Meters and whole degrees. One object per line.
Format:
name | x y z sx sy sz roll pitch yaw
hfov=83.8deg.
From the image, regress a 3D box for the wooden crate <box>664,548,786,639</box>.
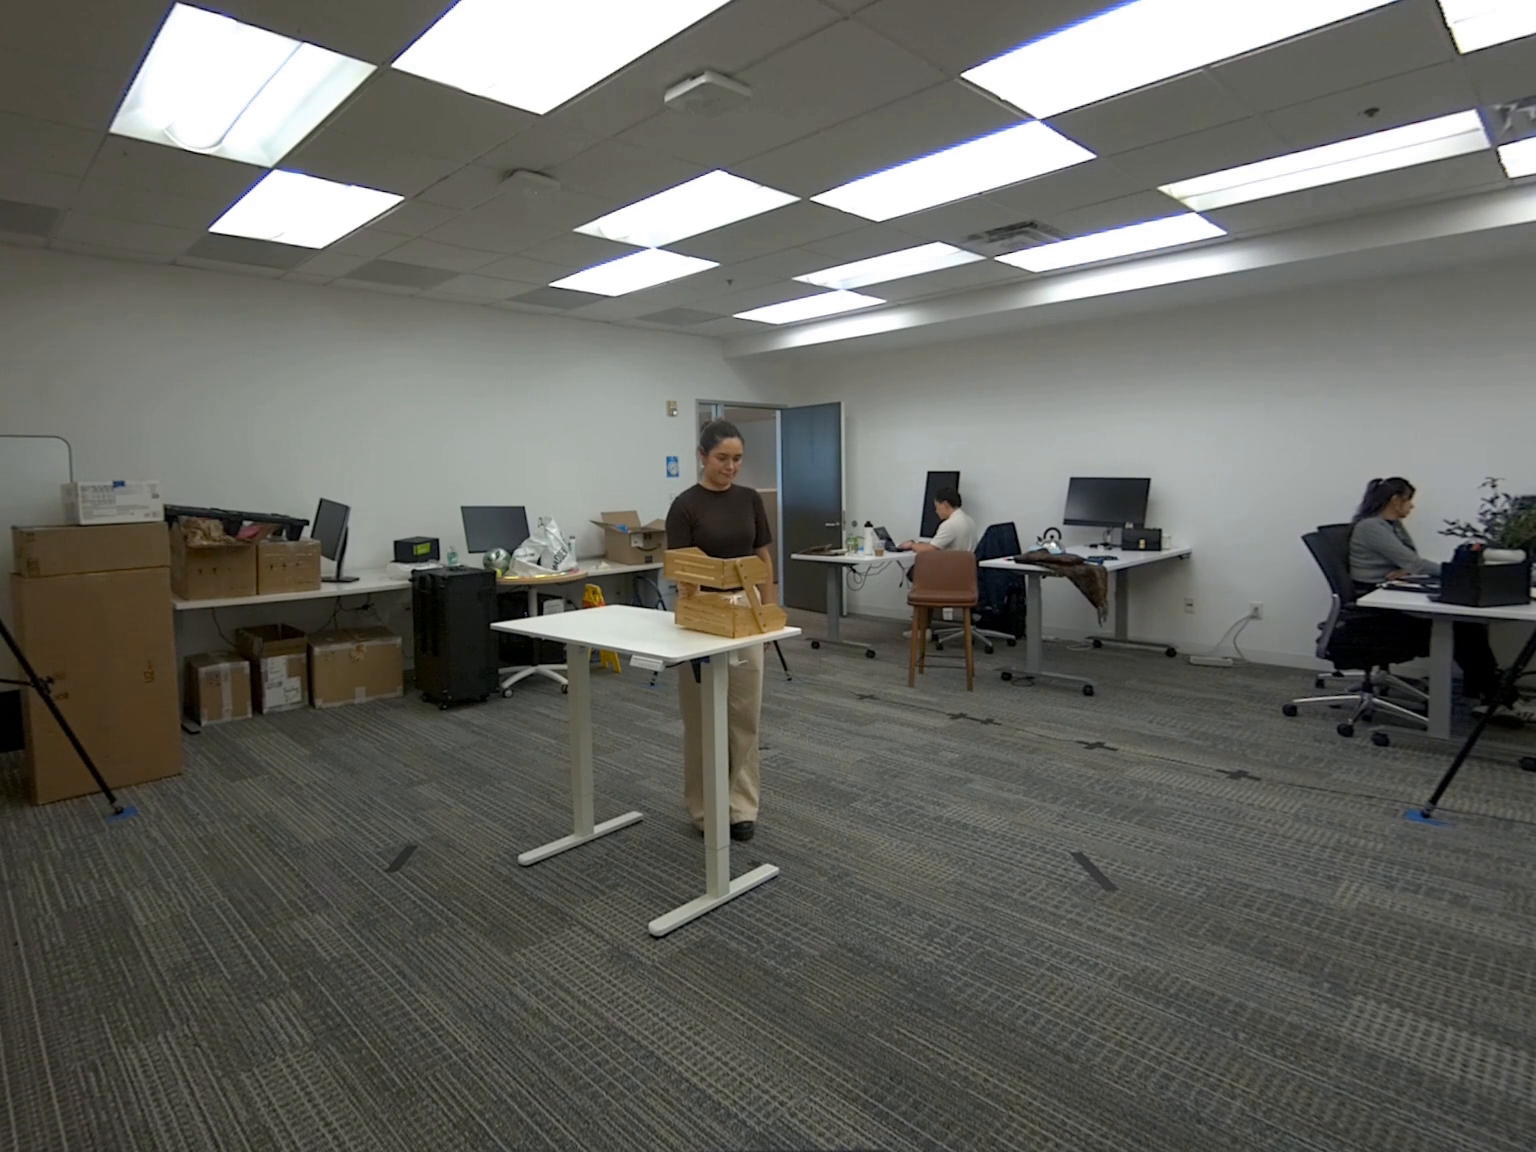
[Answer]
wooden crate | -0.147 0.046 2.906 0.294 0.271 0.335 -8 11 -44
